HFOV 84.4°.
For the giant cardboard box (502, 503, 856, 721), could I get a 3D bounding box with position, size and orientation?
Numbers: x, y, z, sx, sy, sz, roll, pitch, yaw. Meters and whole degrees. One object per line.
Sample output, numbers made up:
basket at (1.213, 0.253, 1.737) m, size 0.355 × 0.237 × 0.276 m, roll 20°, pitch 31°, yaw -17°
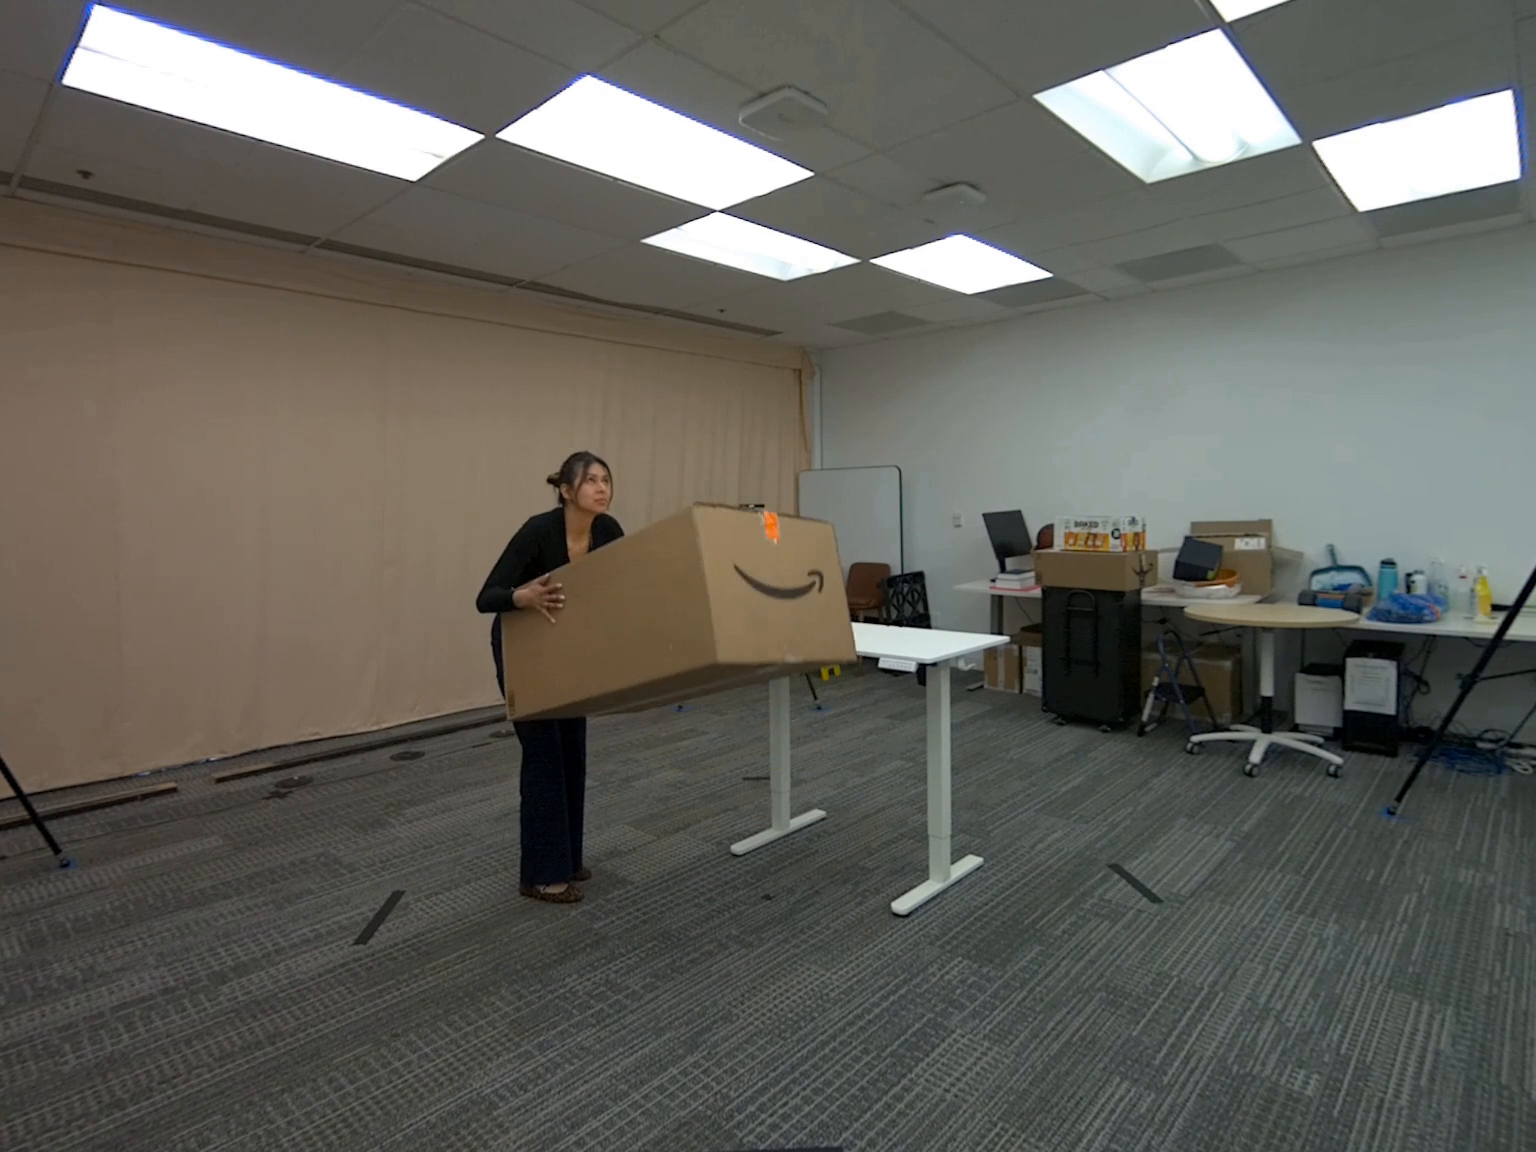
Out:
giant cardboard box at (-0.320, 0.156, 2.654) m, size 1.049 × 0.431 × 0.558 m, roll -21°, pitch -19°, yaw 41°
